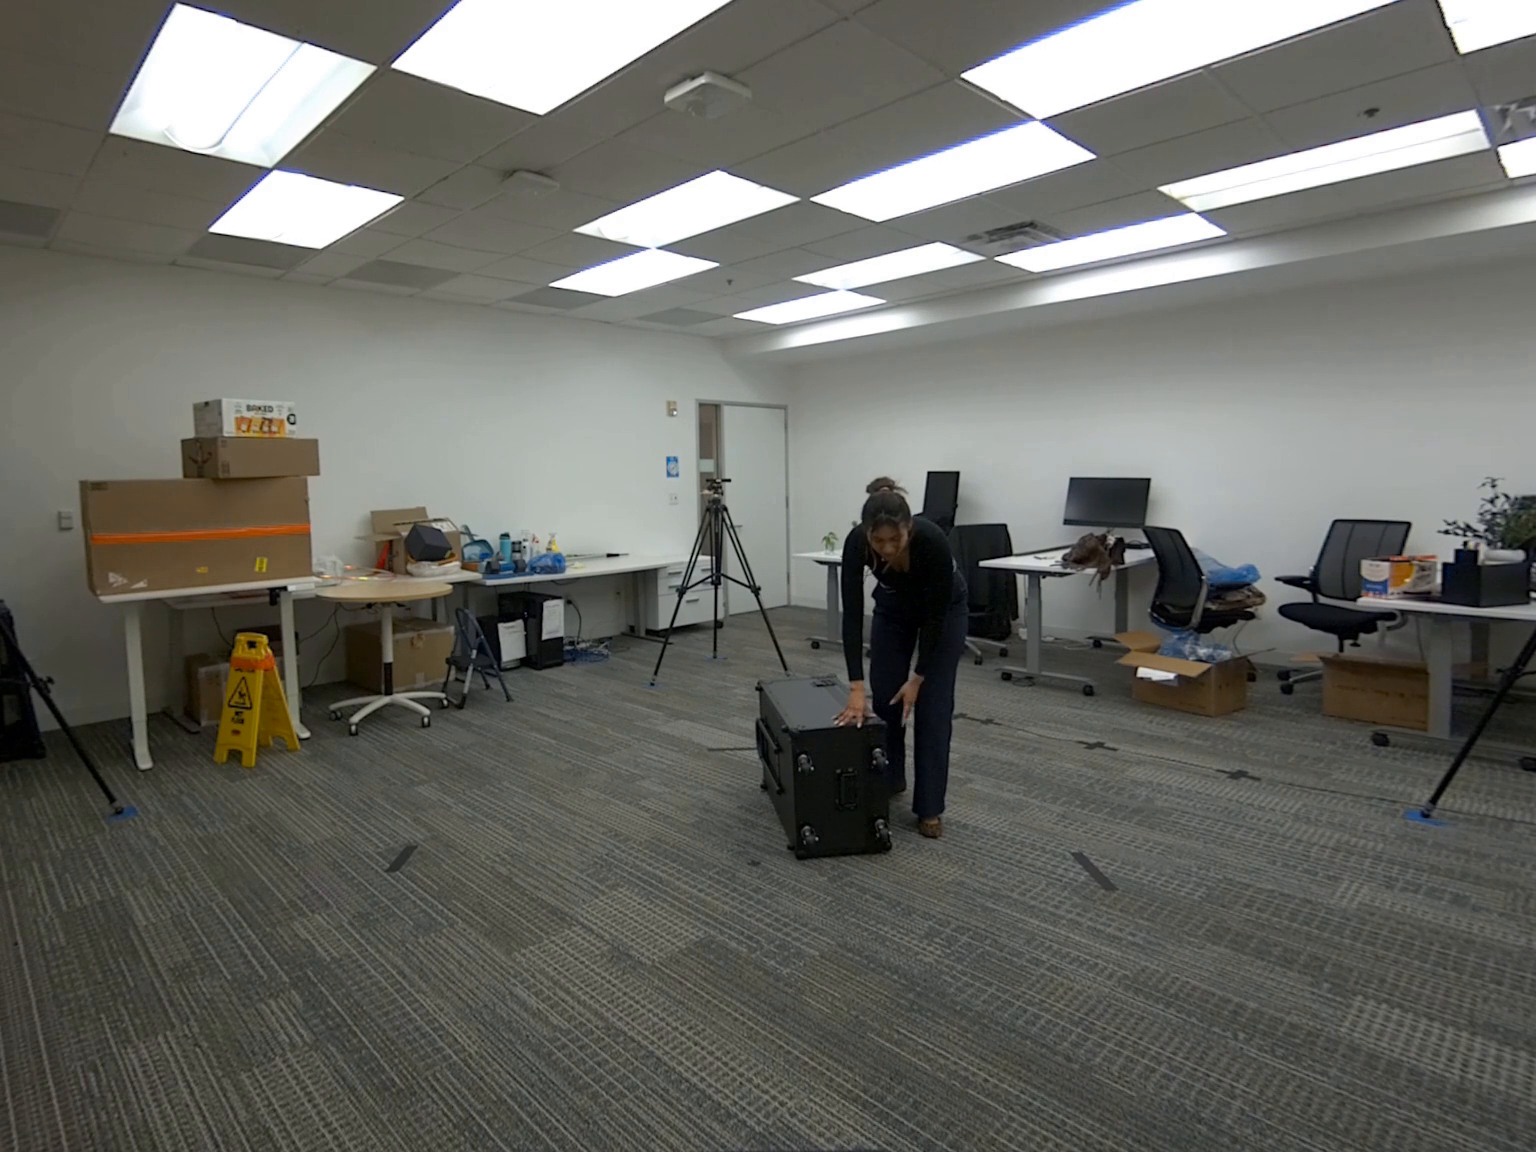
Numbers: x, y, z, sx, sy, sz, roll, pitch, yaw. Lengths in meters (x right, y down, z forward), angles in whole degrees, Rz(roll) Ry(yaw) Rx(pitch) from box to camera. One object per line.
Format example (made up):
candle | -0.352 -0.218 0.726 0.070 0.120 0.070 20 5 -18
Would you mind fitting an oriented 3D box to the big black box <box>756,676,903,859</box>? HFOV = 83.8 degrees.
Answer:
big black box | 0.192 0.743 3.475 0.393 0.519 0.872 -4 6 -8
